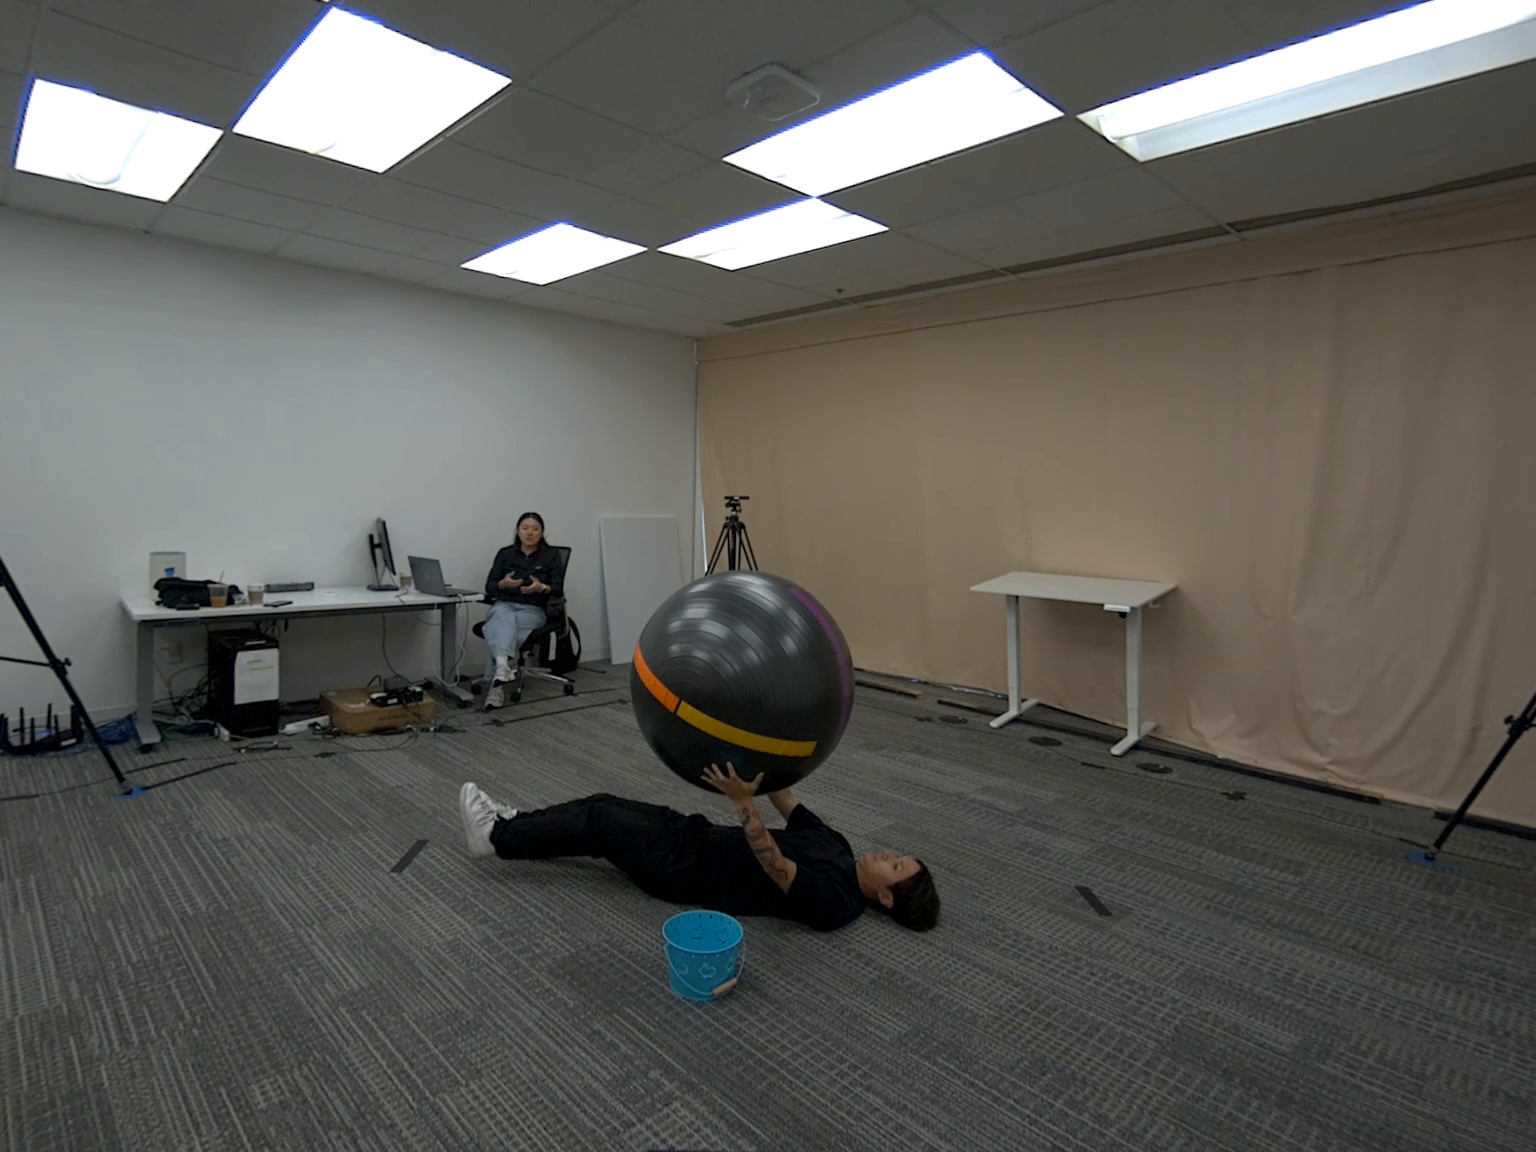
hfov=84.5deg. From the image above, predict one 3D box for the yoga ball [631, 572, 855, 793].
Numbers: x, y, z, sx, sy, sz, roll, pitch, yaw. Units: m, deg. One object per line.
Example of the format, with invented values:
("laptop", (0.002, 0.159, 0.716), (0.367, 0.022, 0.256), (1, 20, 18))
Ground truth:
("yoga ball", (-0.086, 0.366, 2.877), (0.757, 0.756, 0.761), (1, 4, -1))
